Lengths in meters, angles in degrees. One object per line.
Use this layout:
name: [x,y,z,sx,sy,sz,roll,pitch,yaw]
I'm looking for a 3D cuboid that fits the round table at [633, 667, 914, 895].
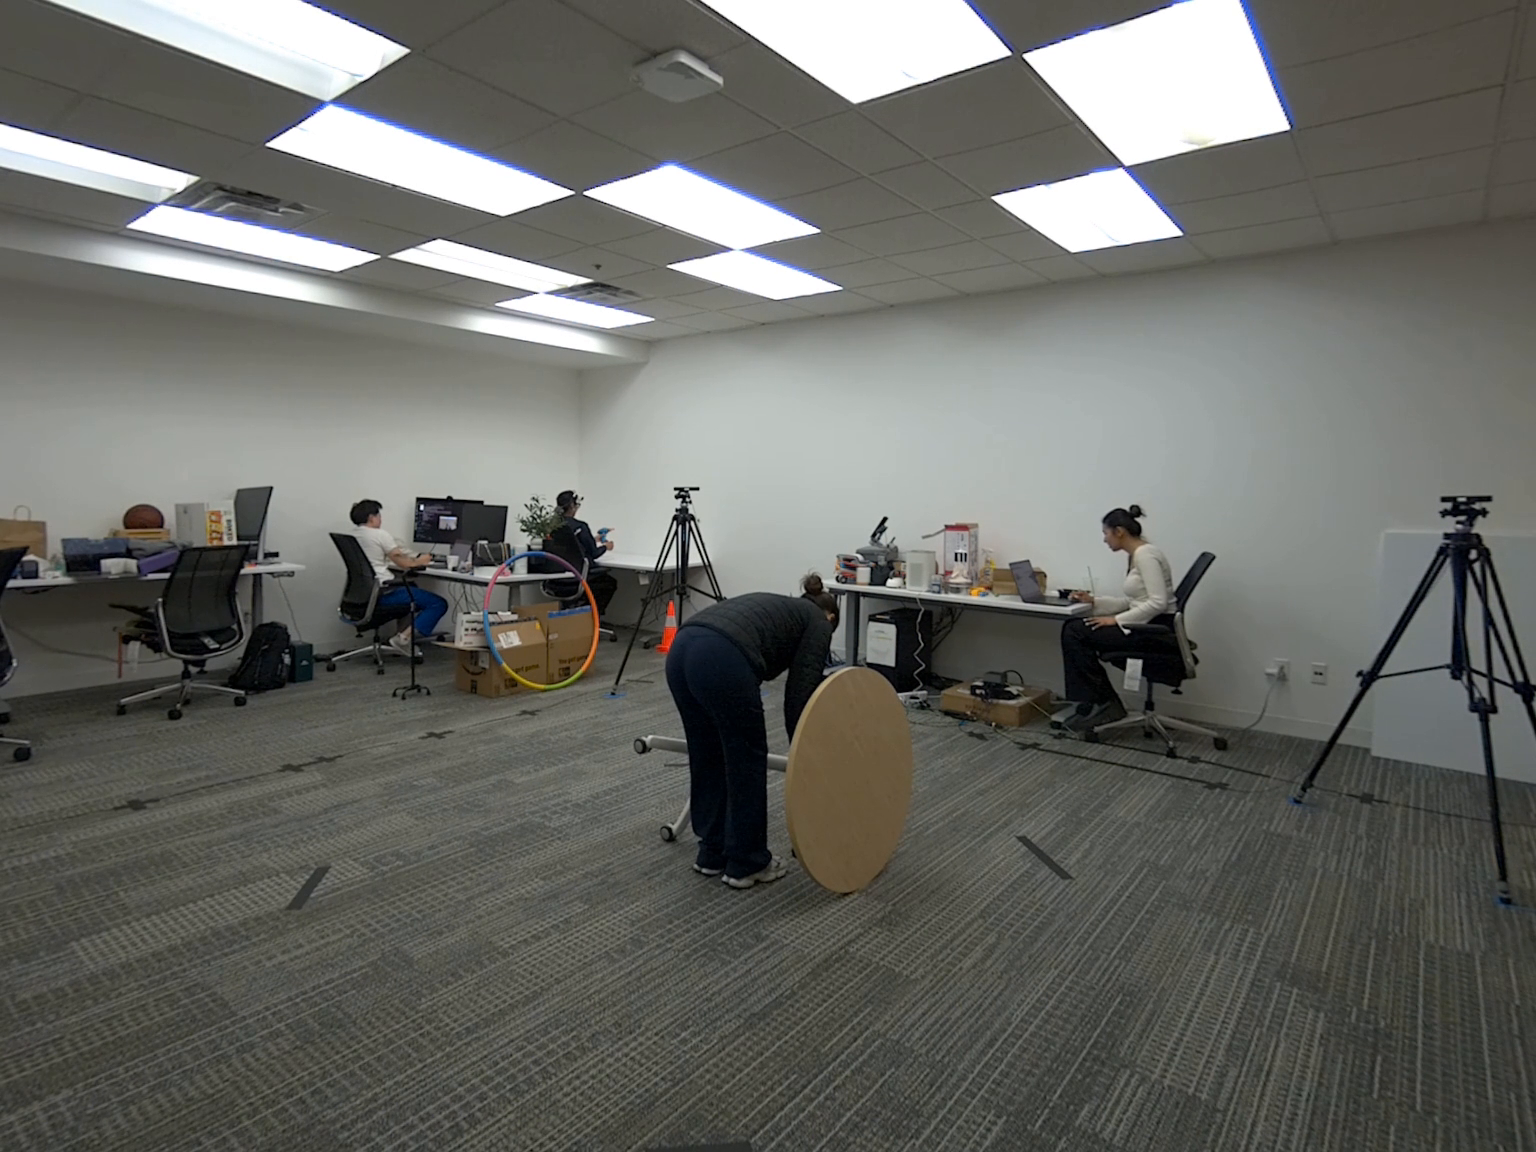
round table: [0.015,0.717,3.261,0.810,0.786,0.762,-3,0,40]
